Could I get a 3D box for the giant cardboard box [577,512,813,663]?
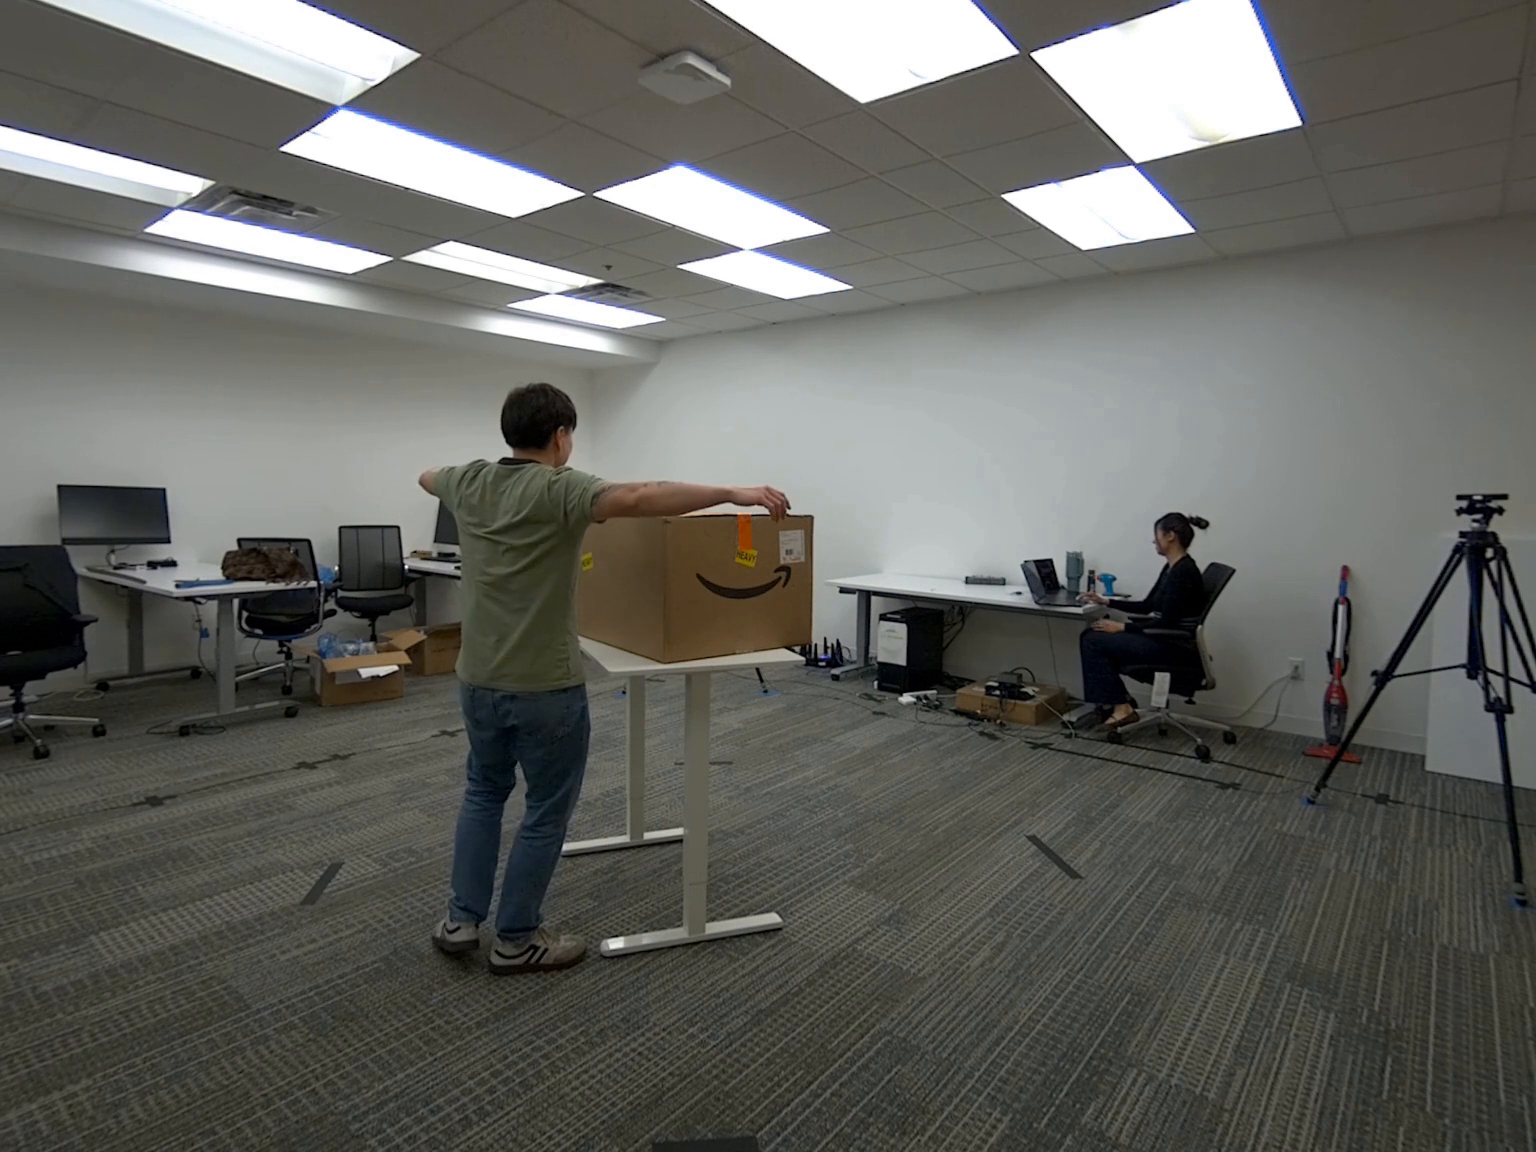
[{"bbox_3d":[-0.403,-0.022,3.005,0.561,0.424,1.061,-4,7,-37],"label":"giant cardboard box"}]
